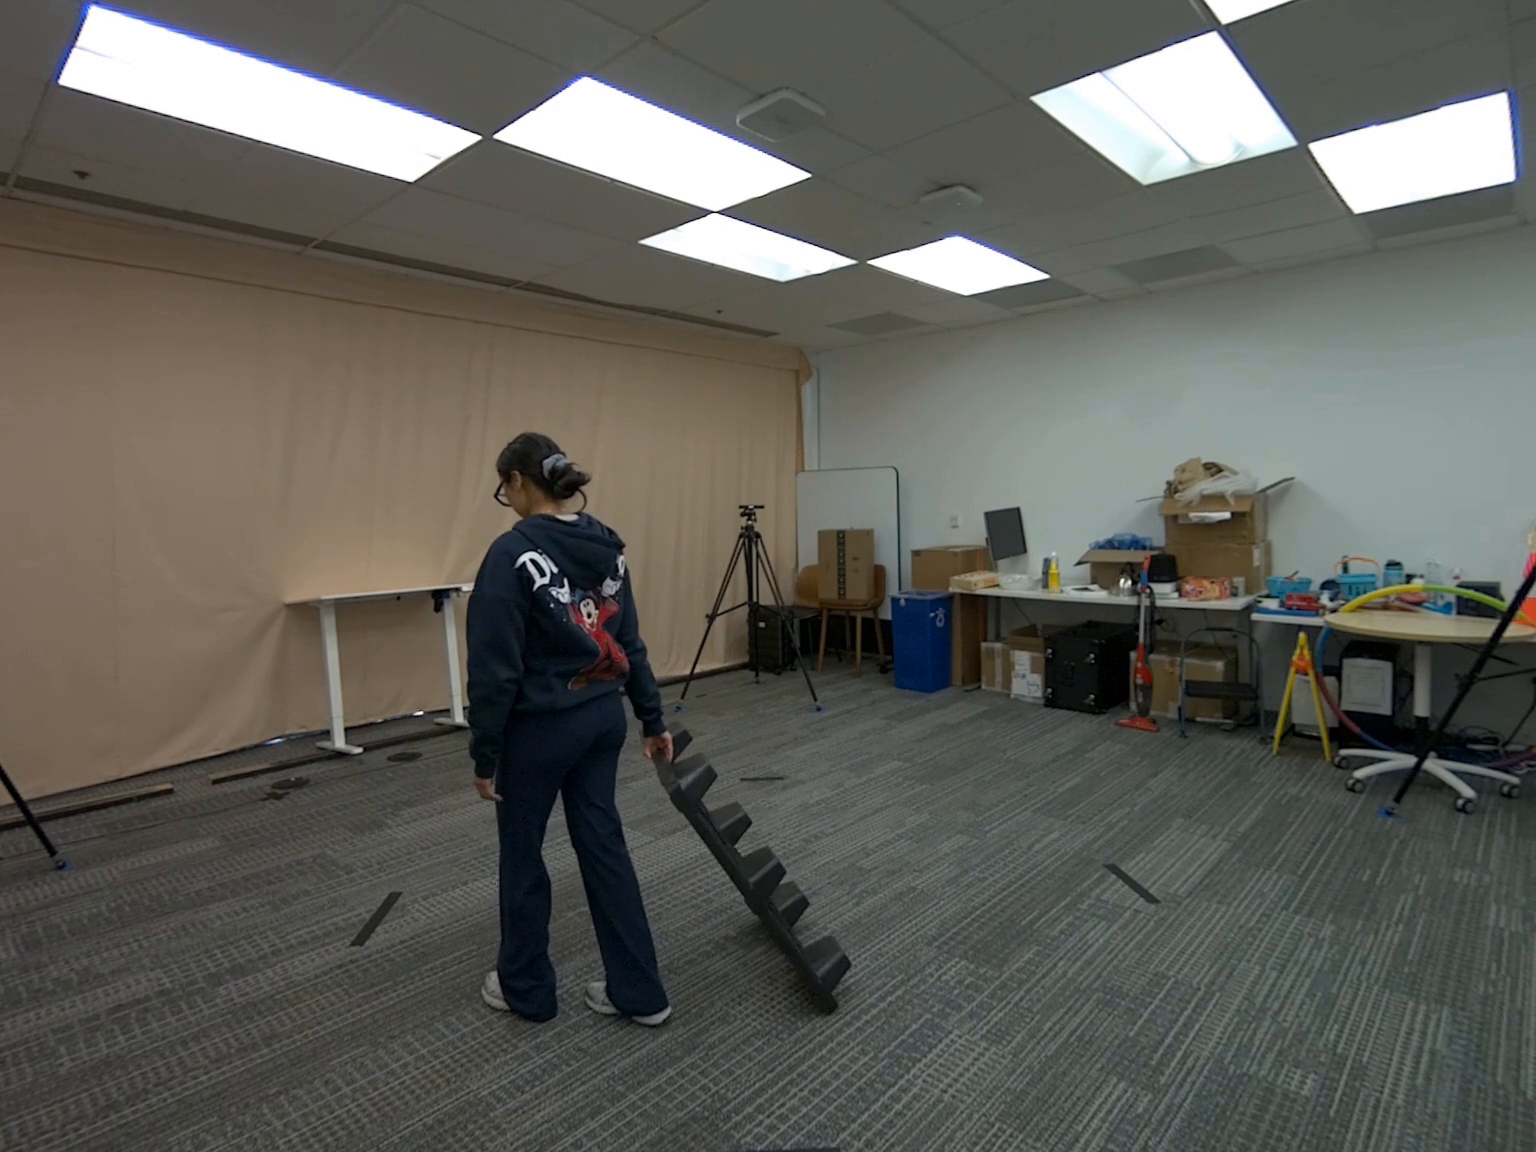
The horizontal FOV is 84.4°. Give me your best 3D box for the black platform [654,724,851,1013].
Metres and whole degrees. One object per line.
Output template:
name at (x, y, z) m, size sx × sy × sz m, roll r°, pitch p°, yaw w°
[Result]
black platform at (-0.081, 0.818, 2.523) m, size 0.143 × 0.797 × 0.614 m, roll -35°, pitch 10°, yaw -9°
